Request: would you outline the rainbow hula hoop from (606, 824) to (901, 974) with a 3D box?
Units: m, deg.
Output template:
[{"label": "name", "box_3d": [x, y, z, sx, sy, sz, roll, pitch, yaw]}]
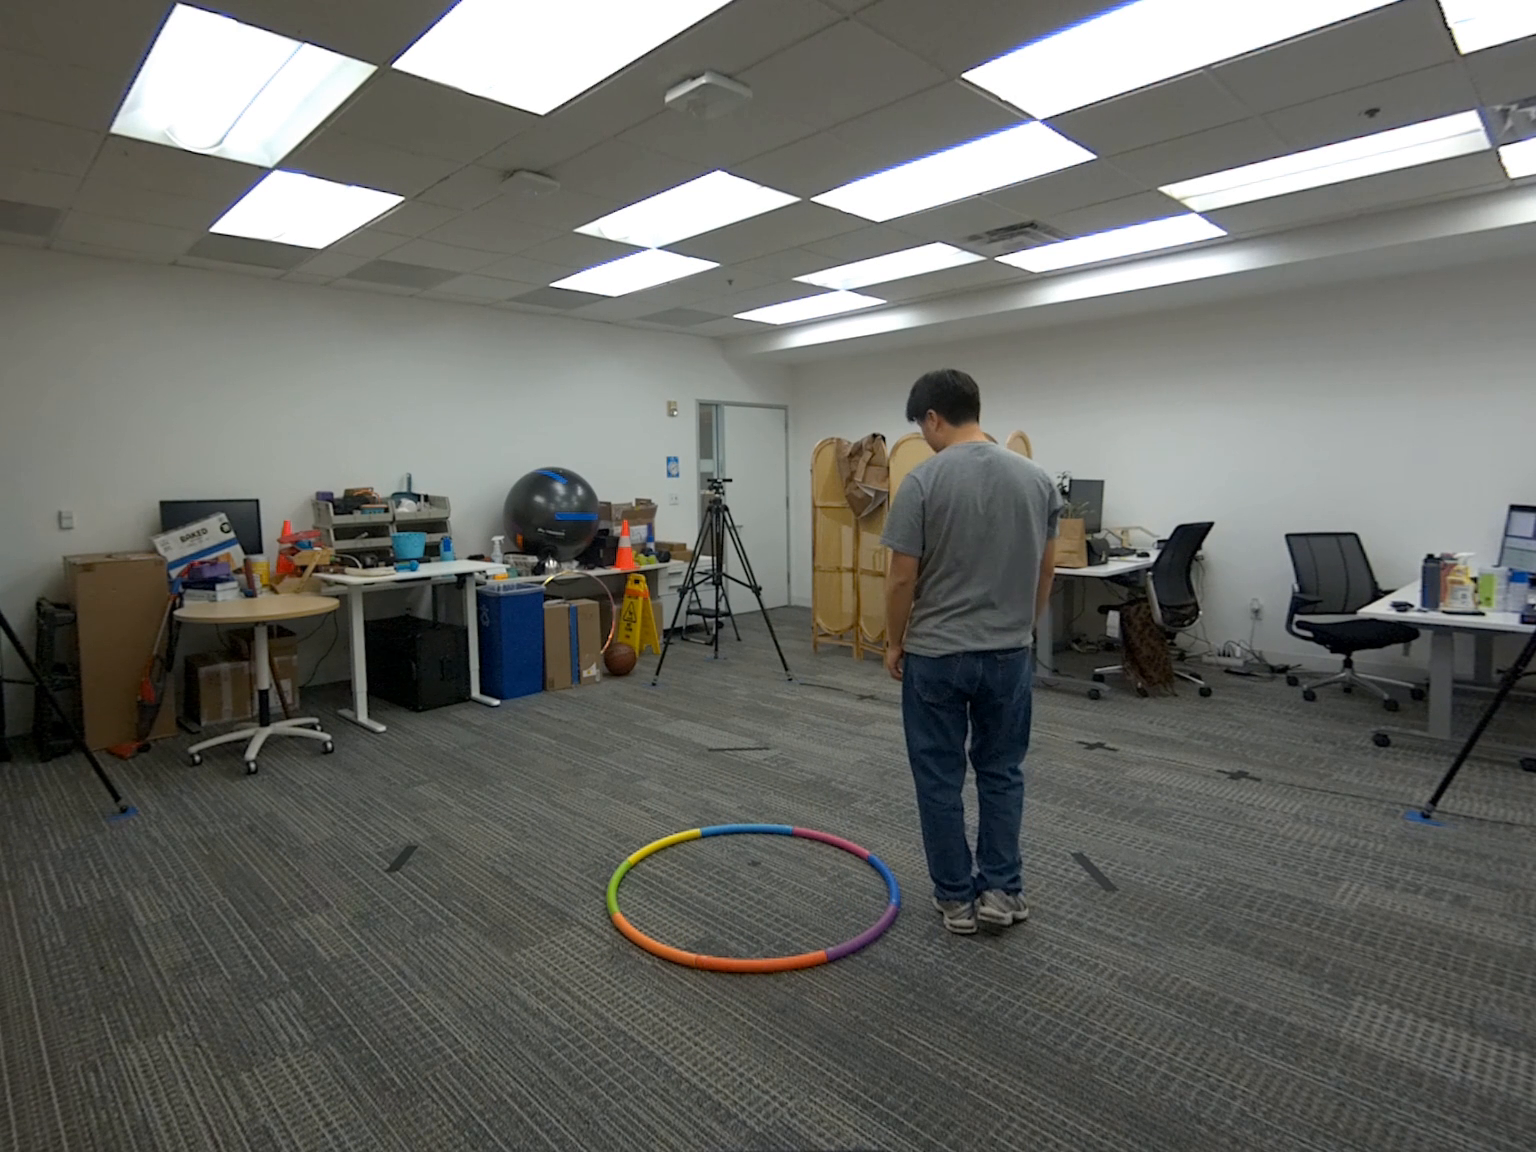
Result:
[{"label": "rainbow hula hoop", "box_3d": [-0.053, 1.037, 2.901, 0.978, 0.035, 0.984, -1, 7, -2]}]
